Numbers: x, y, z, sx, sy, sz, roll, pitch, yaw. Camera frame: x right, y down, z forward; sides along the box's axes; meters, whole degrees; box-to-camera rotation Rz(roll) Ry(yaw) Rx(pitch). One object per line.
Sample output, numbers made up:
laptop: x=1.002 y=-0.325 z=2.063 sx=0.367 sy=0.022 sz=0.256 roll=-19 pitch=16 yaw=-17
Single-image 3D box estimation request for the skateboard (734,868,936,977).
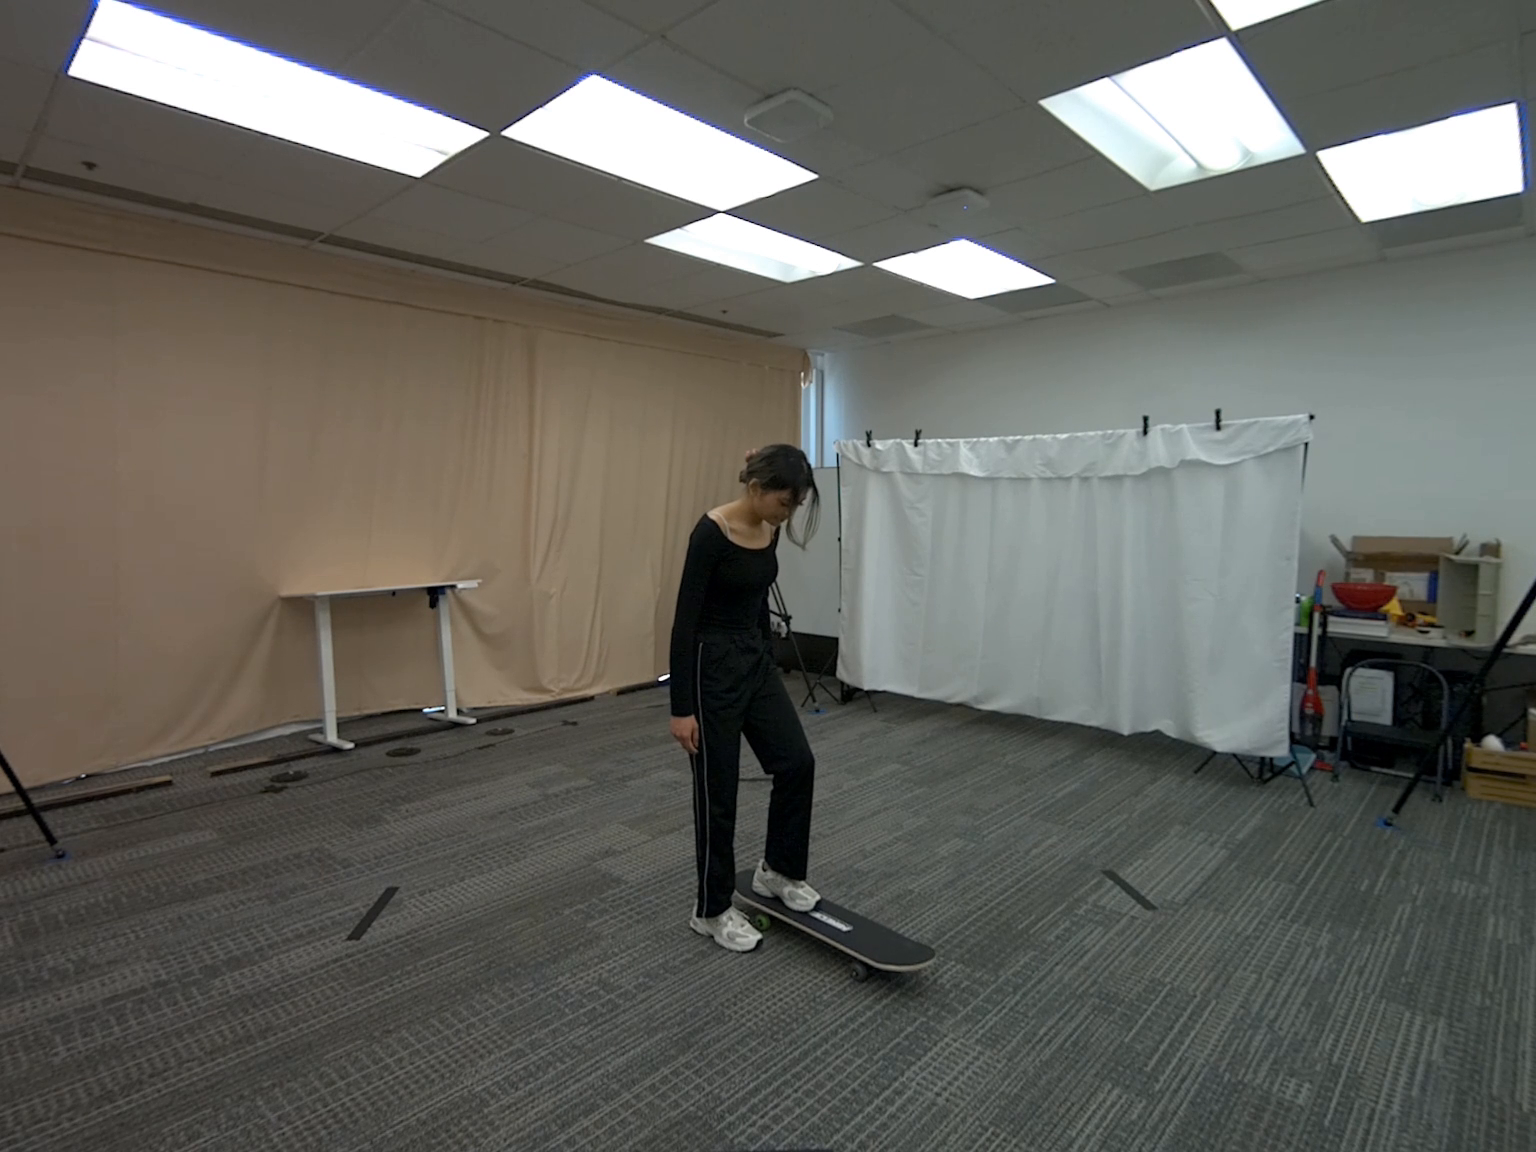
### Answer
skateboard: x=0.190 y=1.119 z=2.665 sx=0.187 sy=0.110 sz=0.811 roll=-4 pitch=5 yaw=-43
